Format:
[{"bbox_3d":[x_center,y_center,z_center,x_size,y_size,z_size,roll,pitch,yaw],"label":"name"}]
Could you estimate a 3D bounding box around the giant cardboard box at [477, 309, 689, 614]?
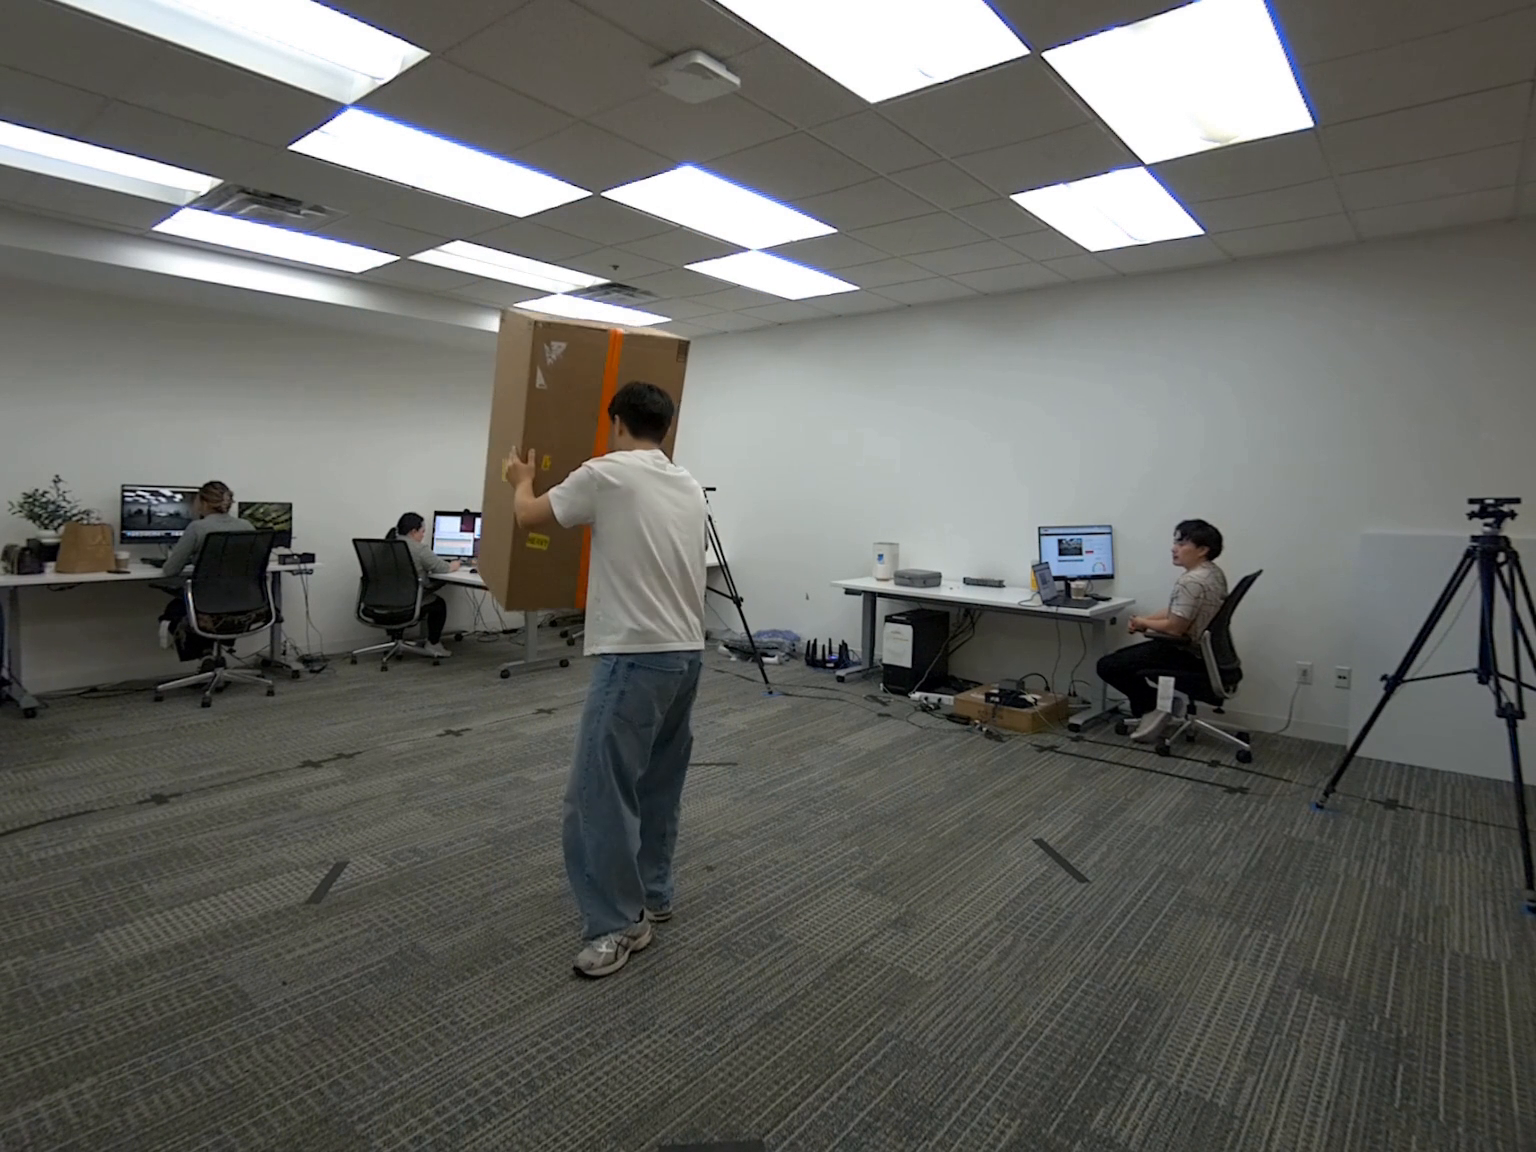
[{"bbox_3d":[-0.718,-0.421,3.172,0.561,1.013,0.444,0,19,-32],"label":"giant cardboard box"}]
